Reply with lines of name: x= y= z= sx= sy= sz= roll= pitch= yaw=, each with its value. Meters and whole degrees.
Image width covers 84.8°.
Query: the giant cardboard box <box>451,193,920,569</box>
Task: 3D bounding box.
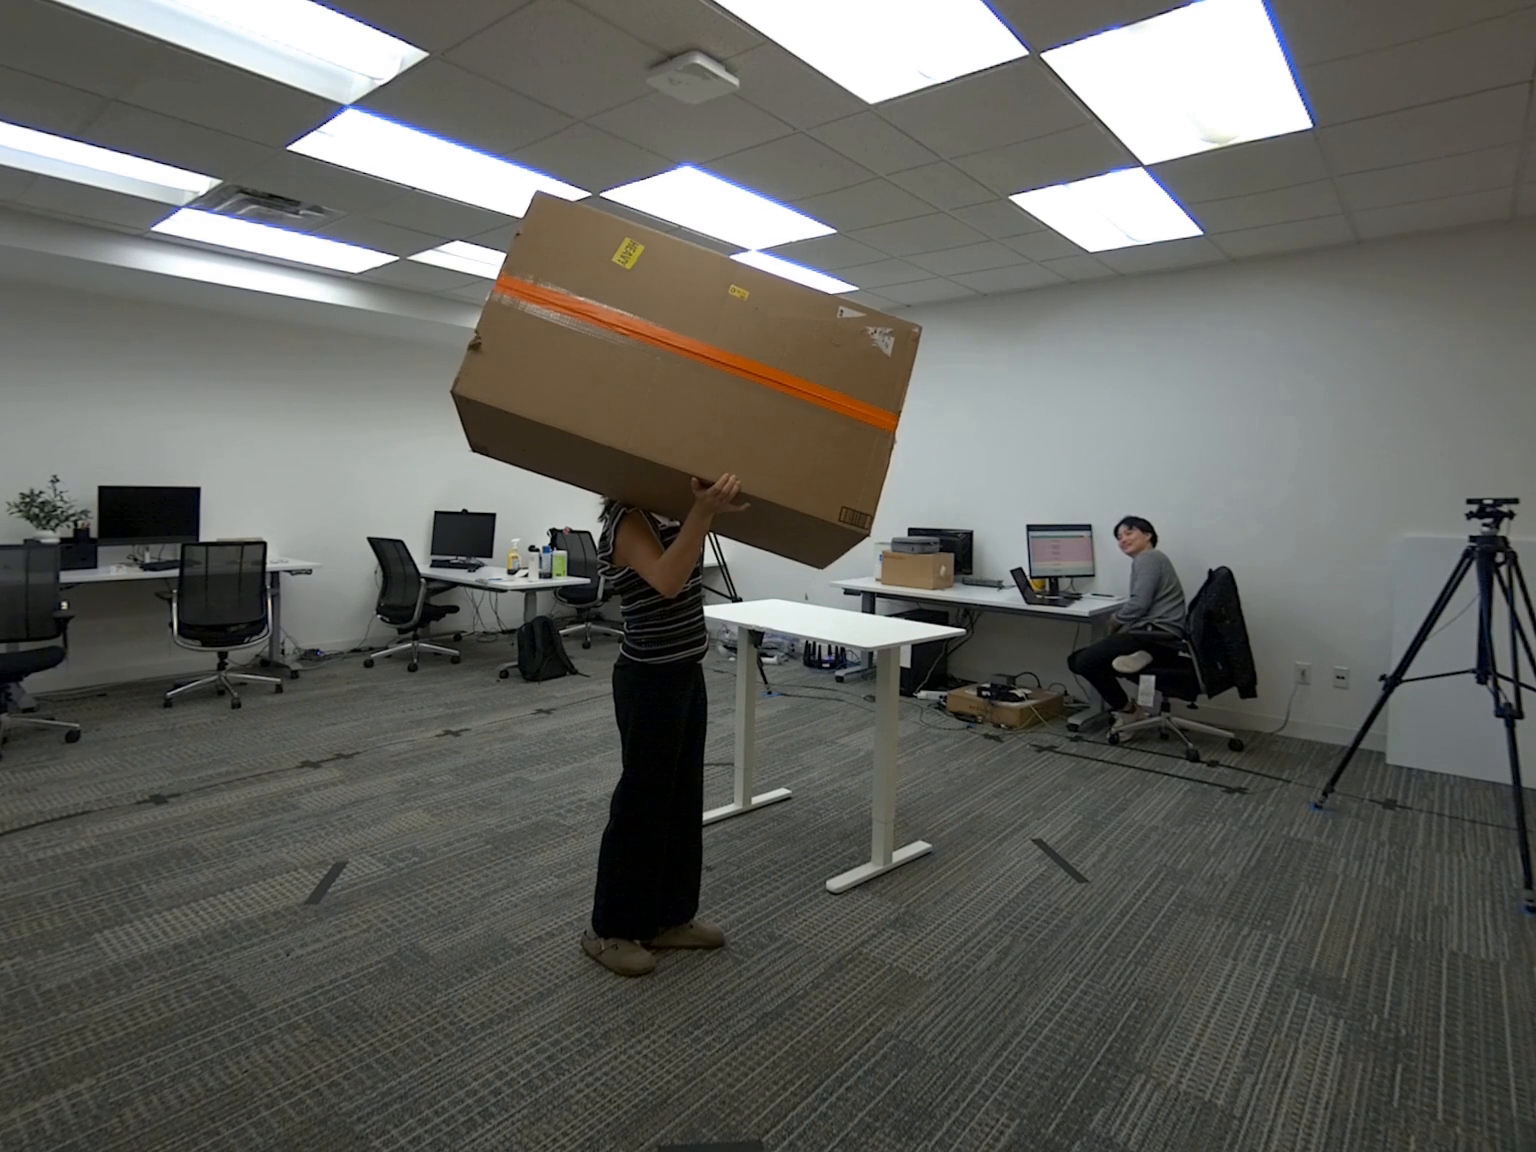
giant cardboard box: x=-0.214 y=-0.471 z=2.228 sx=1.020 sy=0.583 sz=0.425 roll=19 pitch=-16 yaw=-5
